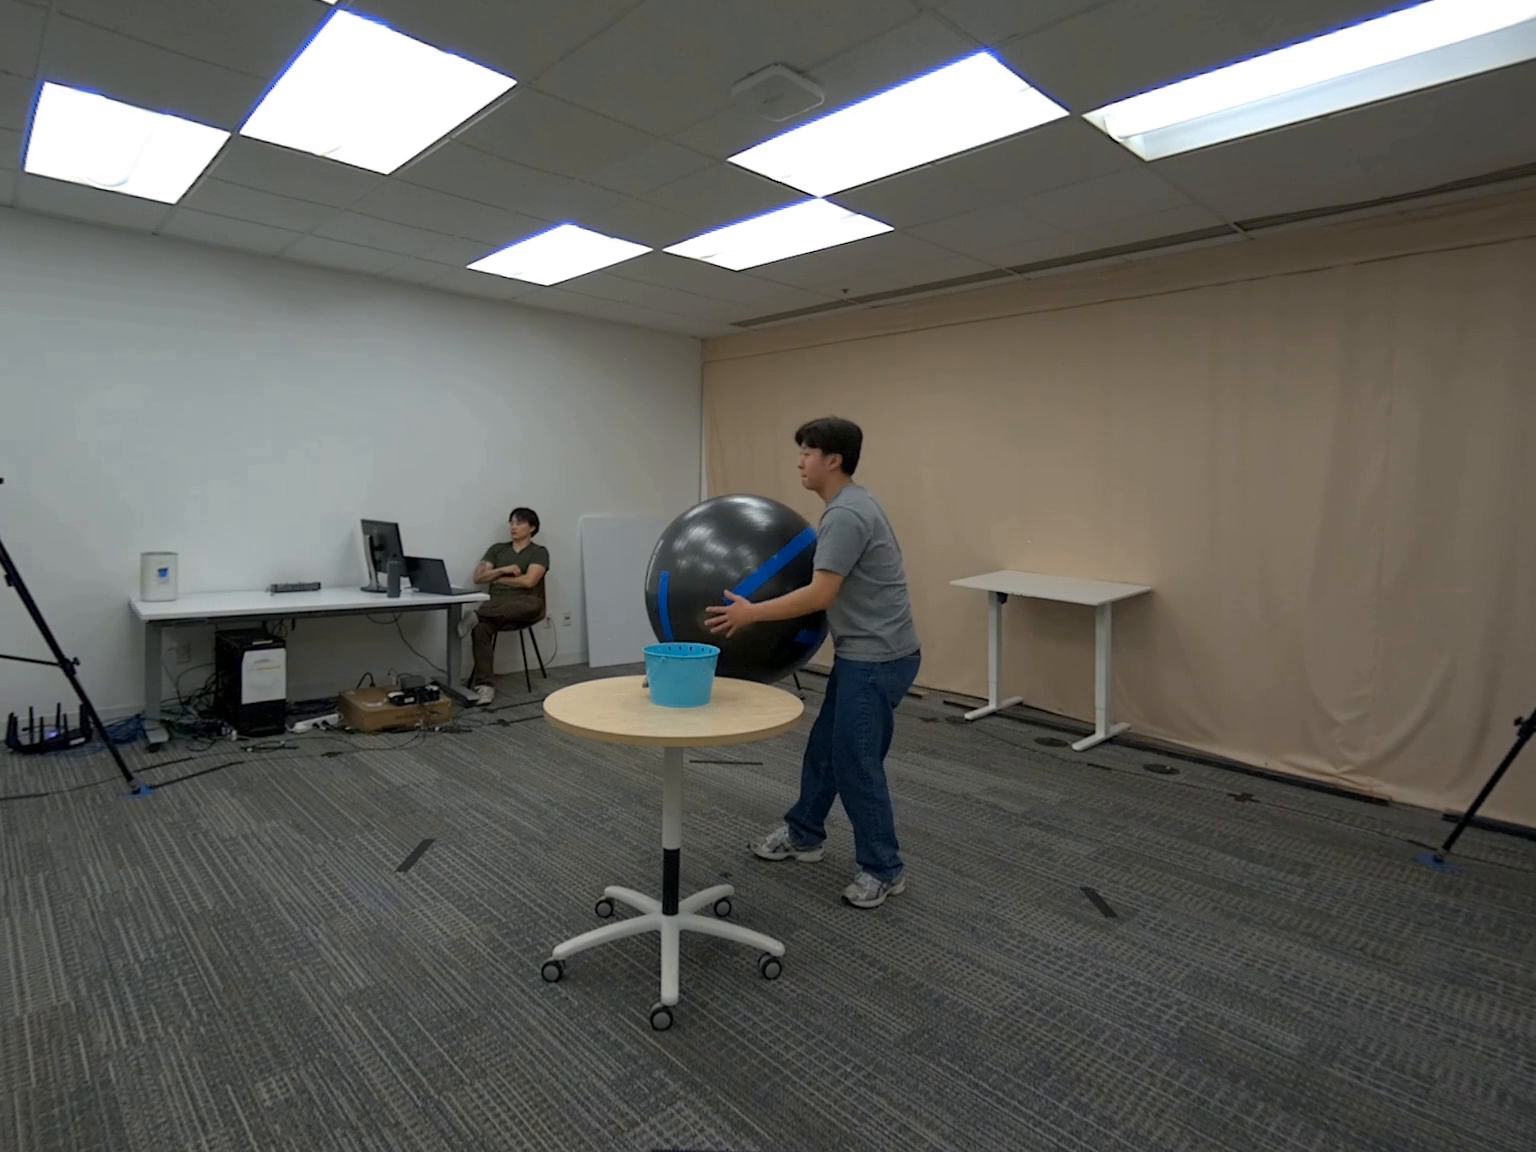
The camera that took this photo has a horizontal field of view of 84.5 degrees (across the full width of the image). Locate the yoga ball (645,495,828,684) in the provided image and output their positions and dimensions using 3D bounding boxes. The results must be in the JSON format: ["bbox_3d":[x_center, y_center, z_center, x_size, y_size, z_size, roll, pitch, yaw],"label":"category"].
[{"bbox_3d":[-0.111,0.088,3.323,0.757,0.756,0.761,1,4,-1],"label":"yoga ball"}]
